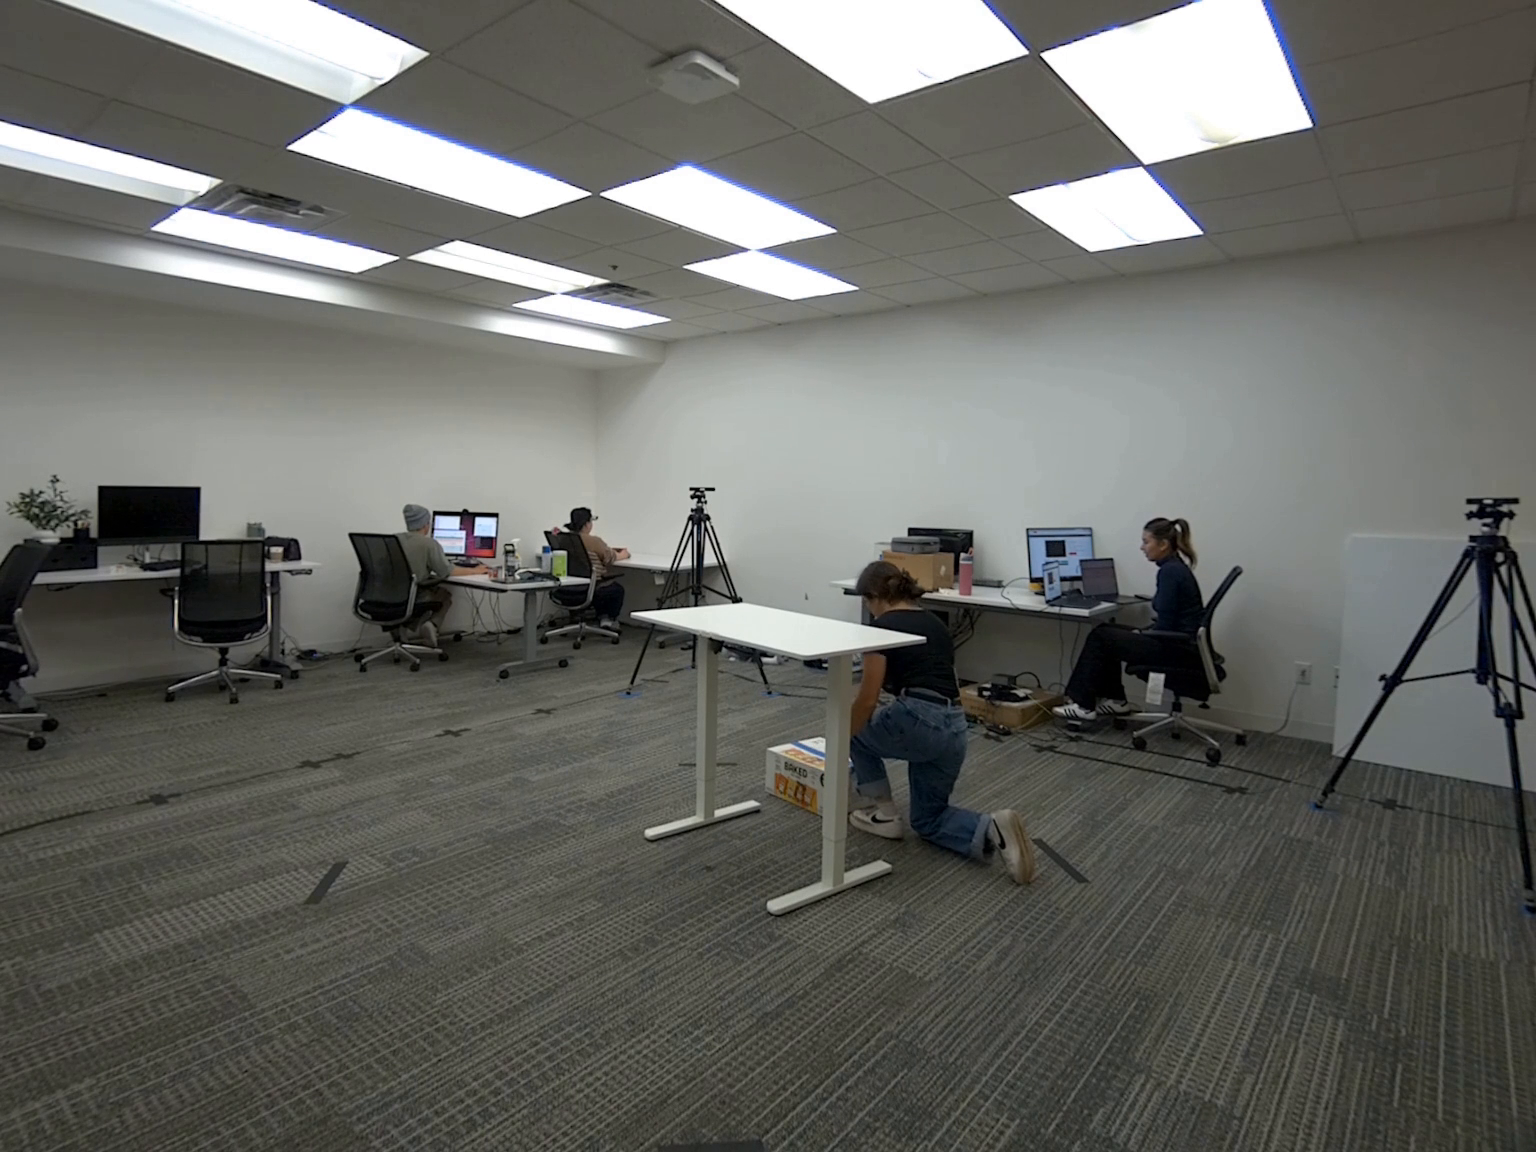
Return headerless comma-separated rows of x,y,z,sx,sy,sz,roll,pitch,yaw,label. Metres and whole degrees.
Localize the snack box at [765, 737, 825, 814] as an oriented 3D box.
0.242,0.901,3.856,0.330,0.205,0.419,-3,6,-39,snack box
